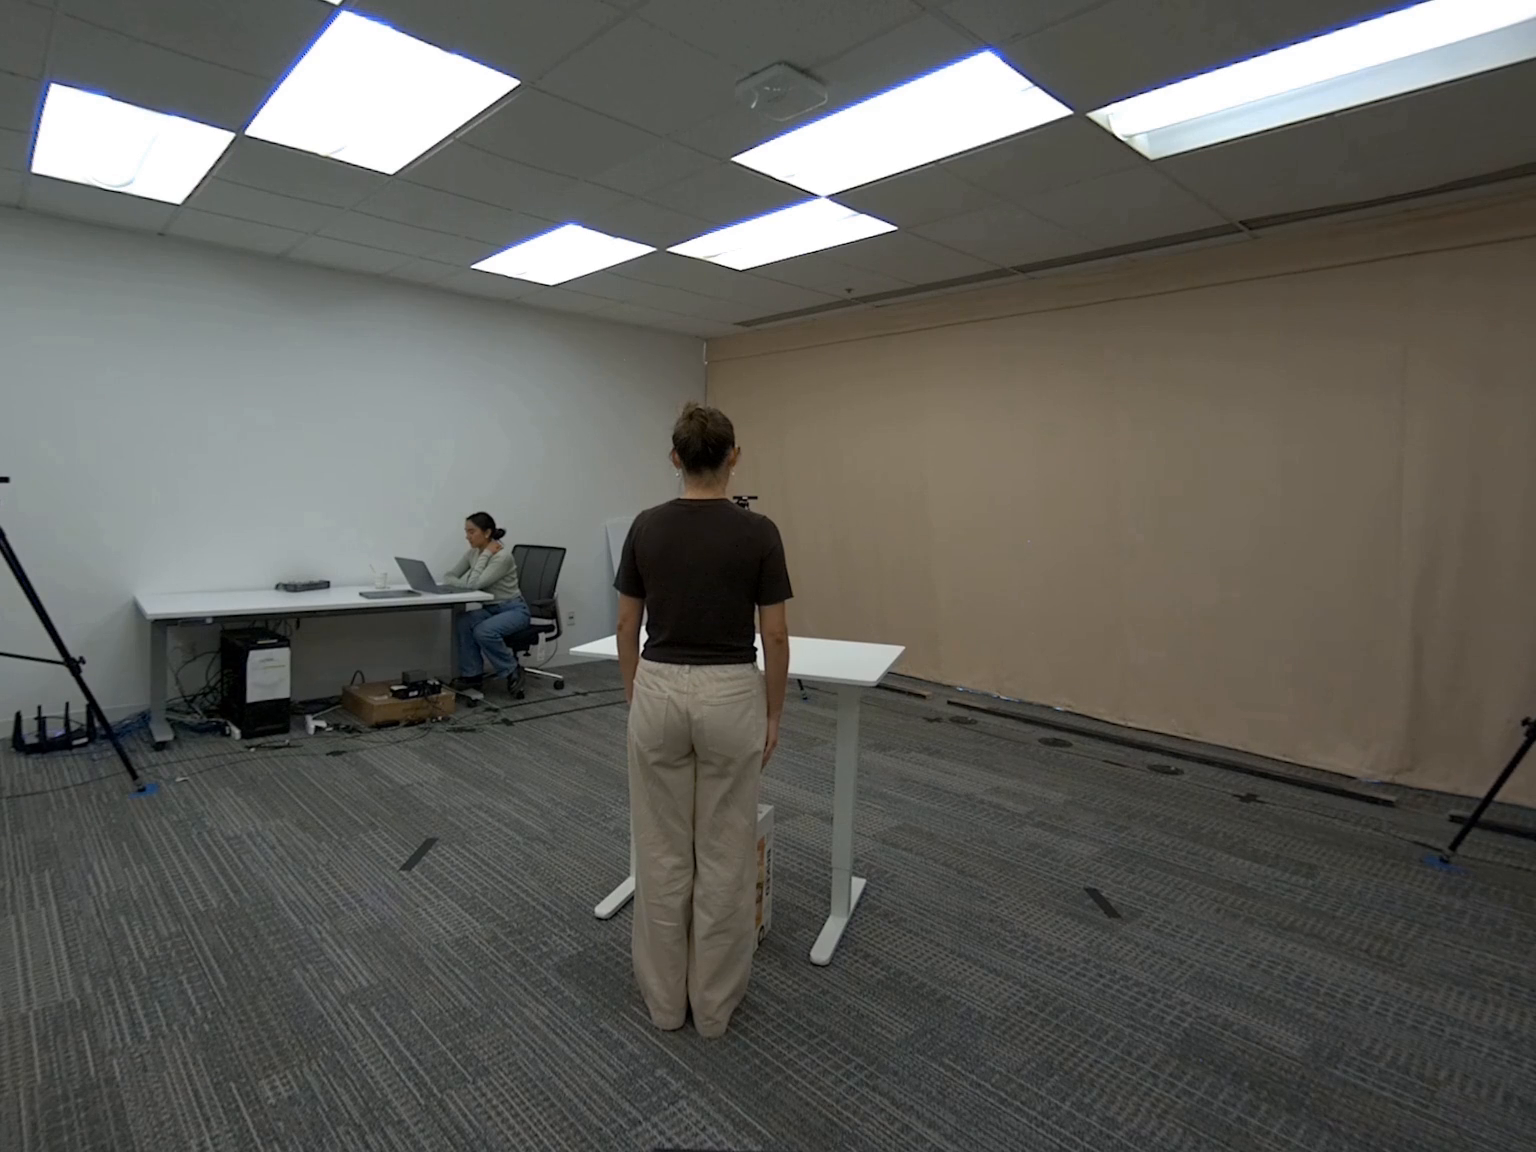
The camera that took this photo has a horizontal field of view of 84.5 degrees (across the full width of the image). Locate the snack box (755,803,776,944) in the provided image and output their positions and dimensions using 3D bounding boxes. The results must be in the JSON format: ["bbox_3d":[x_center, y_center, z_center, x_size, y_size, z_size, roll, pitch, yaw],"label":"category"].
[{"bbox_3d":[-0.179,0.942,2.666,0.345,0.404,0.203,3,2,19],"label":"snack box"}]
